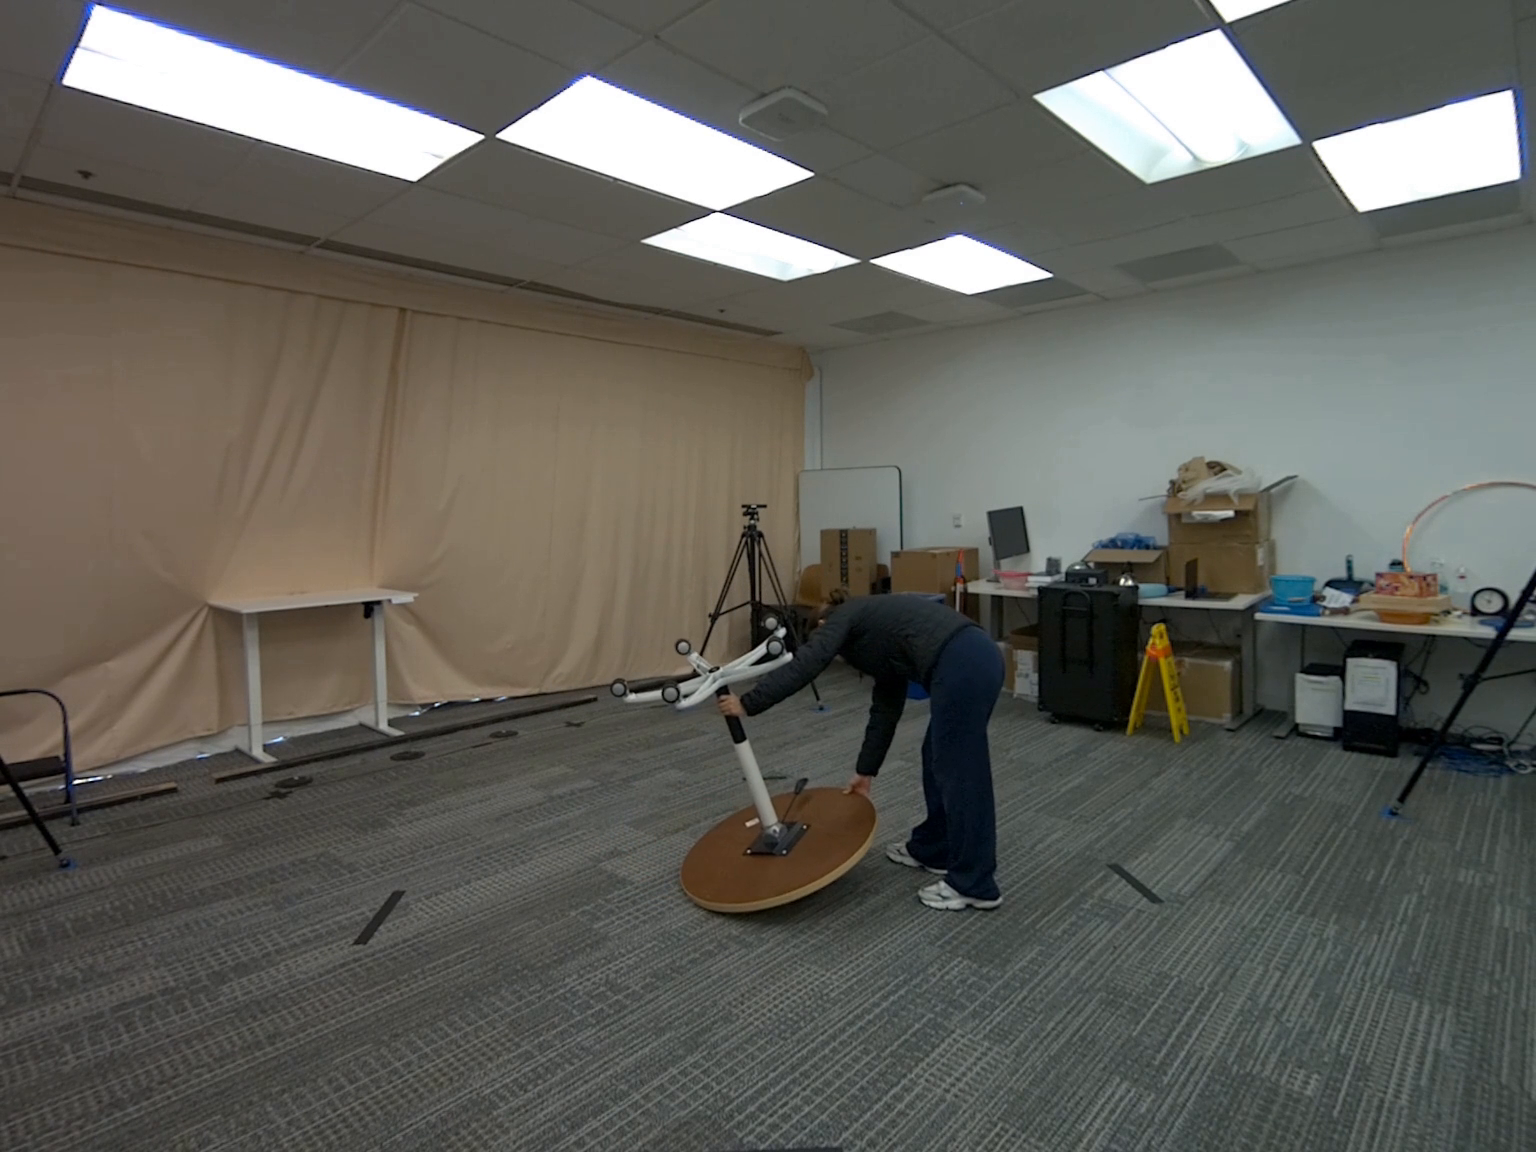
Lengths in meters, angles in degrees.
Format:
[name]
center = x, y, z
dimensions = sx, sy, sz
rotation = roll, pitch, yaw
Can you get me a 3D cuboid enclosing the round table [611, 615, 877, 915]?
[round table]
center = -0.074, 0.630, 3.091
dimensions = 0.786, 0.780, 0.790
rotation = -19, 9, 1
